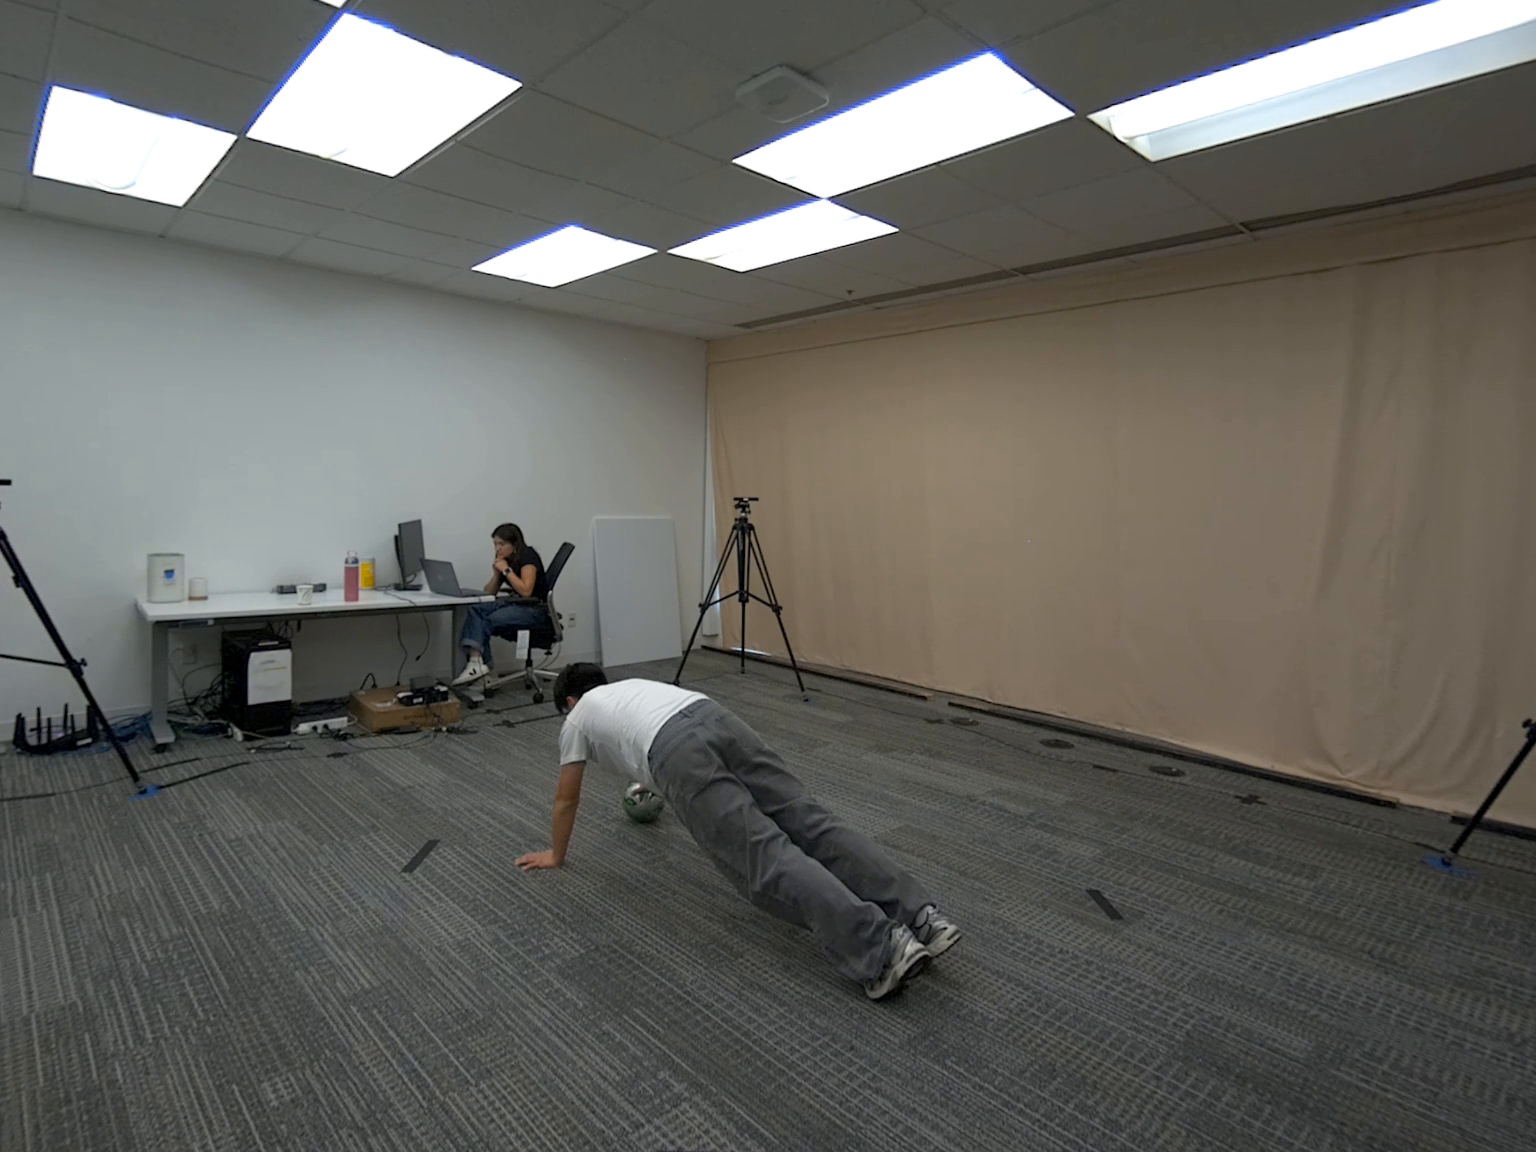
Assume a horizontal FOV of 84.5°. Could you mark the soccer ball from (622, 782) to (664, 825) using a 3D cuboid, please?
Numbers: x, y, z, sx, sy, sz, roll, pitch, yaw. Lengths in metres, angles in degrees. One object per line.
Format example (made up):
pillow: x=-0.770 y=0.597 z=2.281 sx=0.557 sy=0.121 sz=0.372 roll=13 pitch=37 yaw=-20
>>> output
soccer ball: x=-0.544 y=0.962 z=3.616 sx=0.187 sy=0.187 sz=0.188 roll=1 pitch=4 yaw=-1
